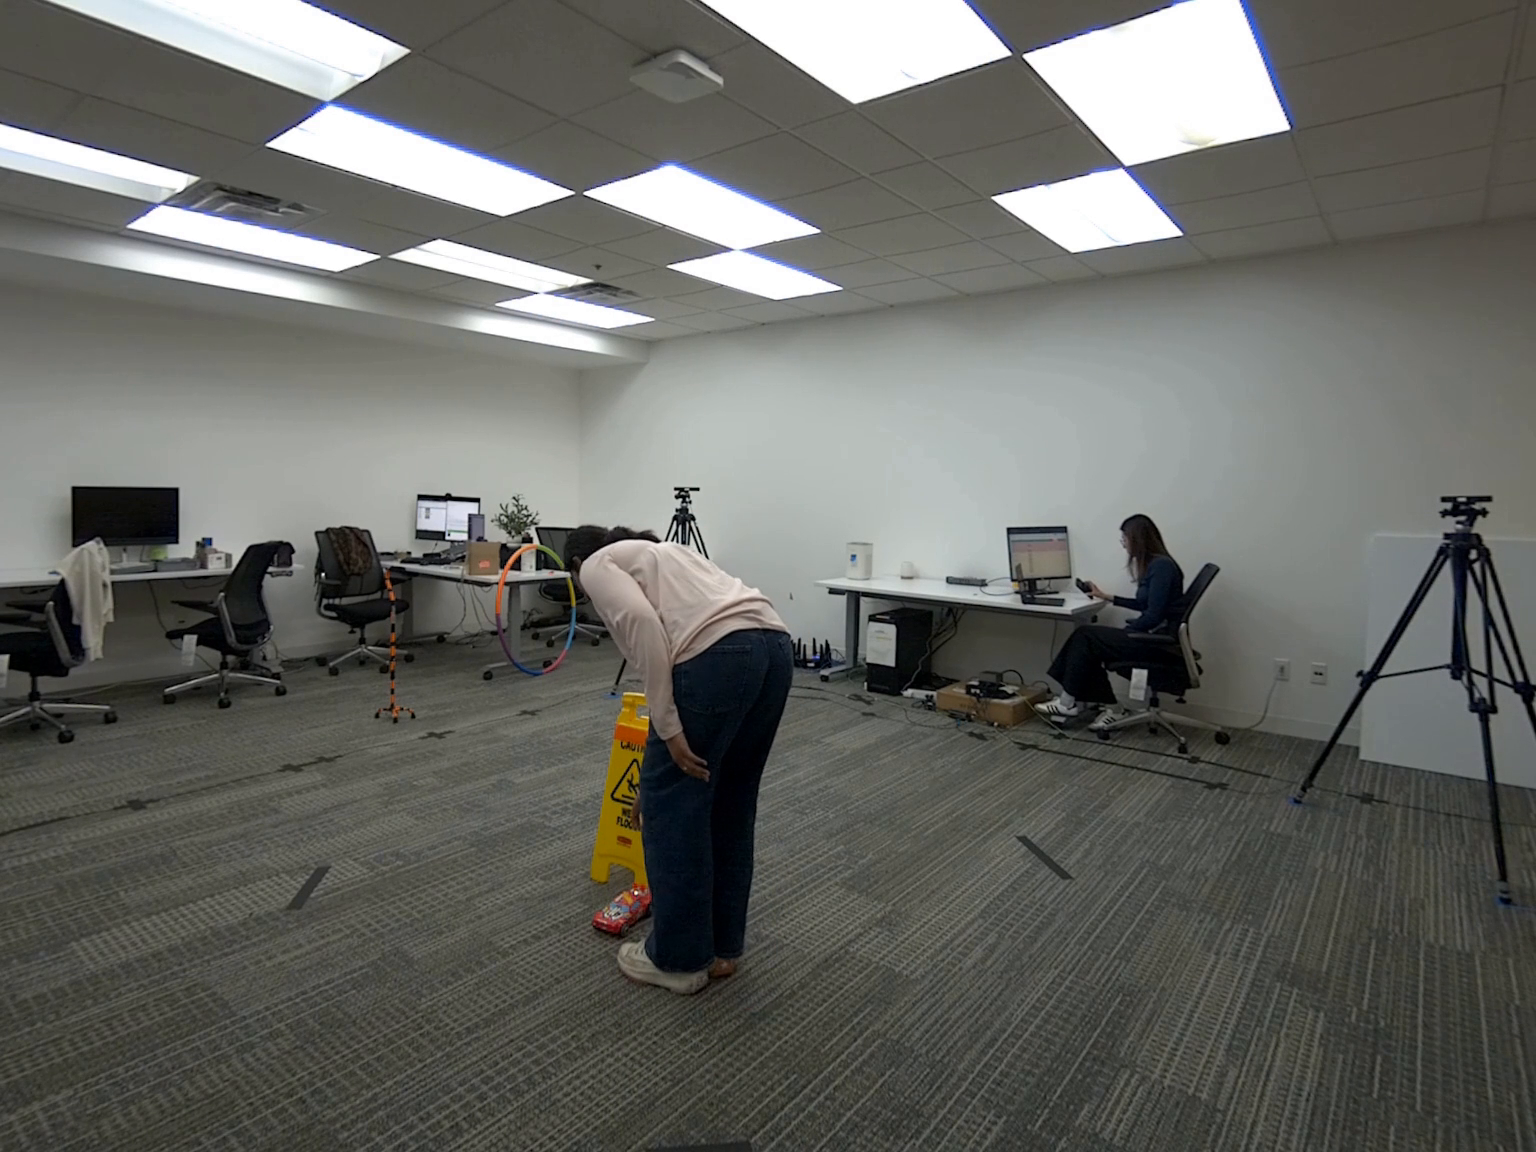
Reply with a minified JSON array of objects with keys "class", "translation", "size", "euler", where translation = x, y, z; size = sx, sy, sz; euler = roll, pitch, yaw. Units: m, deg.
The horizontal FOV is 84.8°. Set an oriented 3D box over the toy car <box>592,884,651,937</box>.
[{"class":"toy car","translation":[-0.457,1.064,2.729],"size":[0.134,0.082,0.251],"euler":[3,17,27]}]
